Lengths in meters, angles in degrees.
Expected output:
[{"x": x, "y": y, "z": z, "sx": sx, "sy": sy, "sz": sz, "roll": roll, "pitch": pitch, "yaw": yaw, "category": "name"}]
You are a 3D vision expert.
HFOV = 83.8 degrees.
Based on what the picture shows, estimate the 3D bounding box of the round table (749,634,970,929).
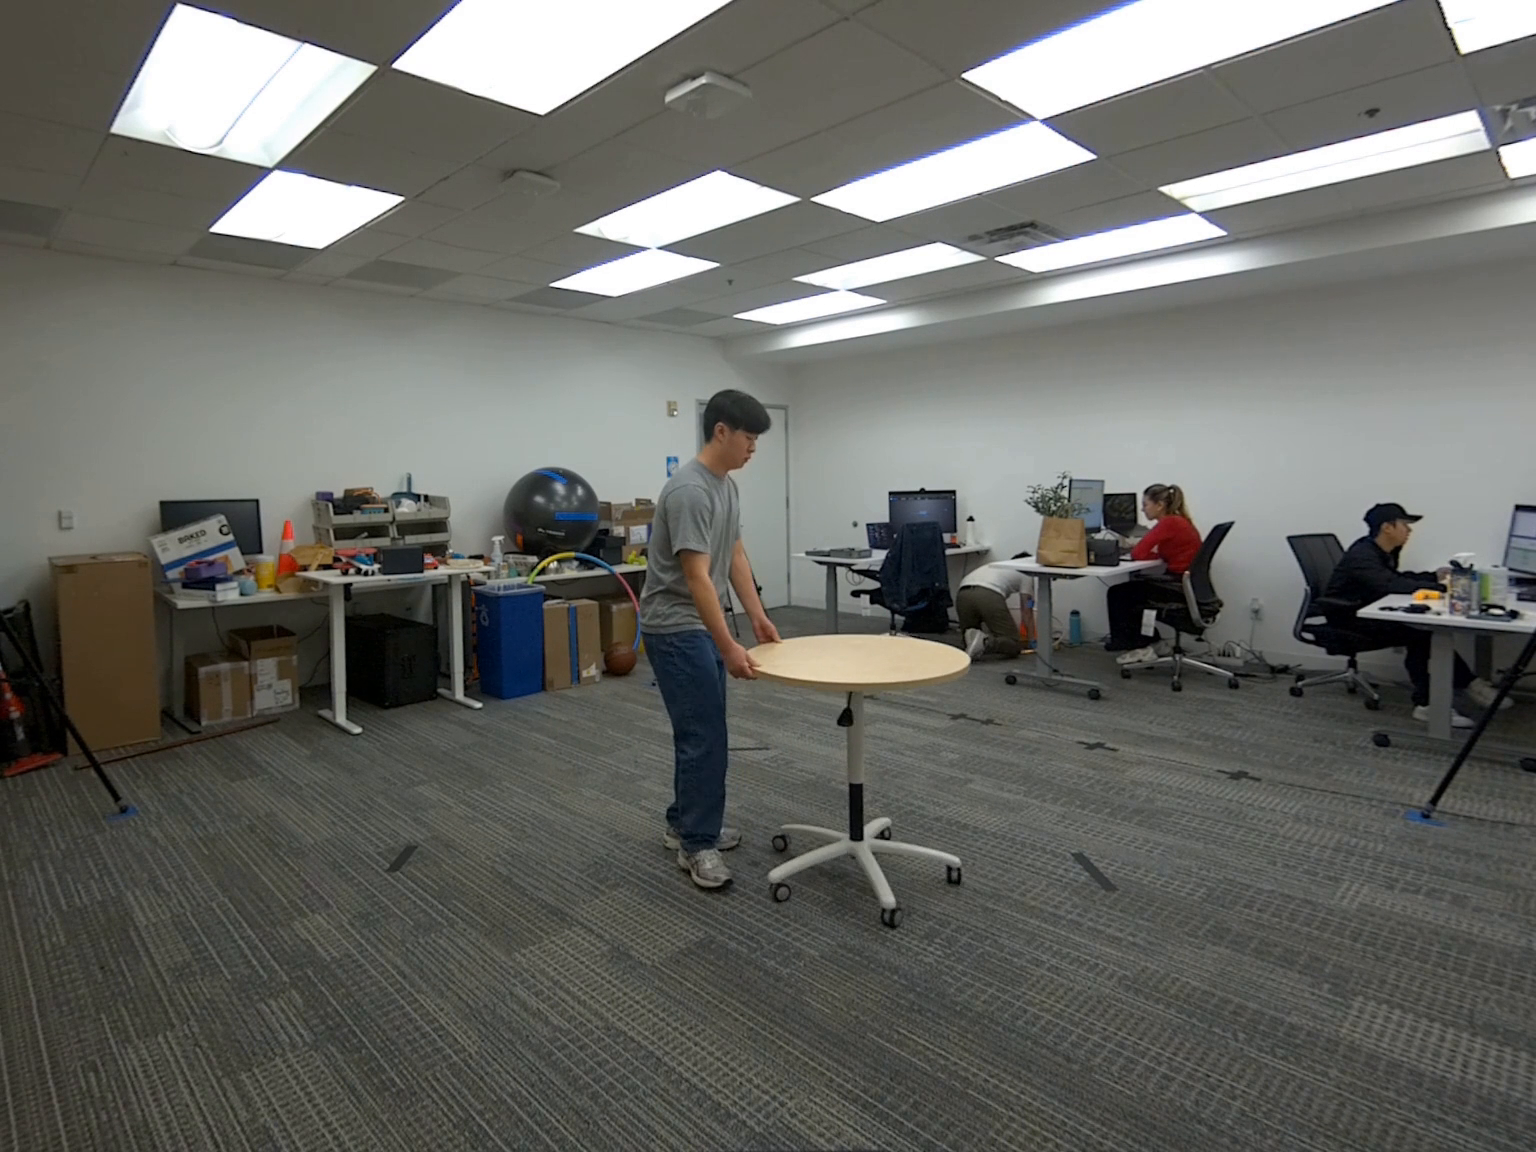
[{"x": 0.300, "y": 0.667, "z": 2.948, "sx": 0.763, "sy": 0.791, "sz": 0.768, "roll": -1, "pitch": 5, "yaw": -2, "category": "round table"}]
